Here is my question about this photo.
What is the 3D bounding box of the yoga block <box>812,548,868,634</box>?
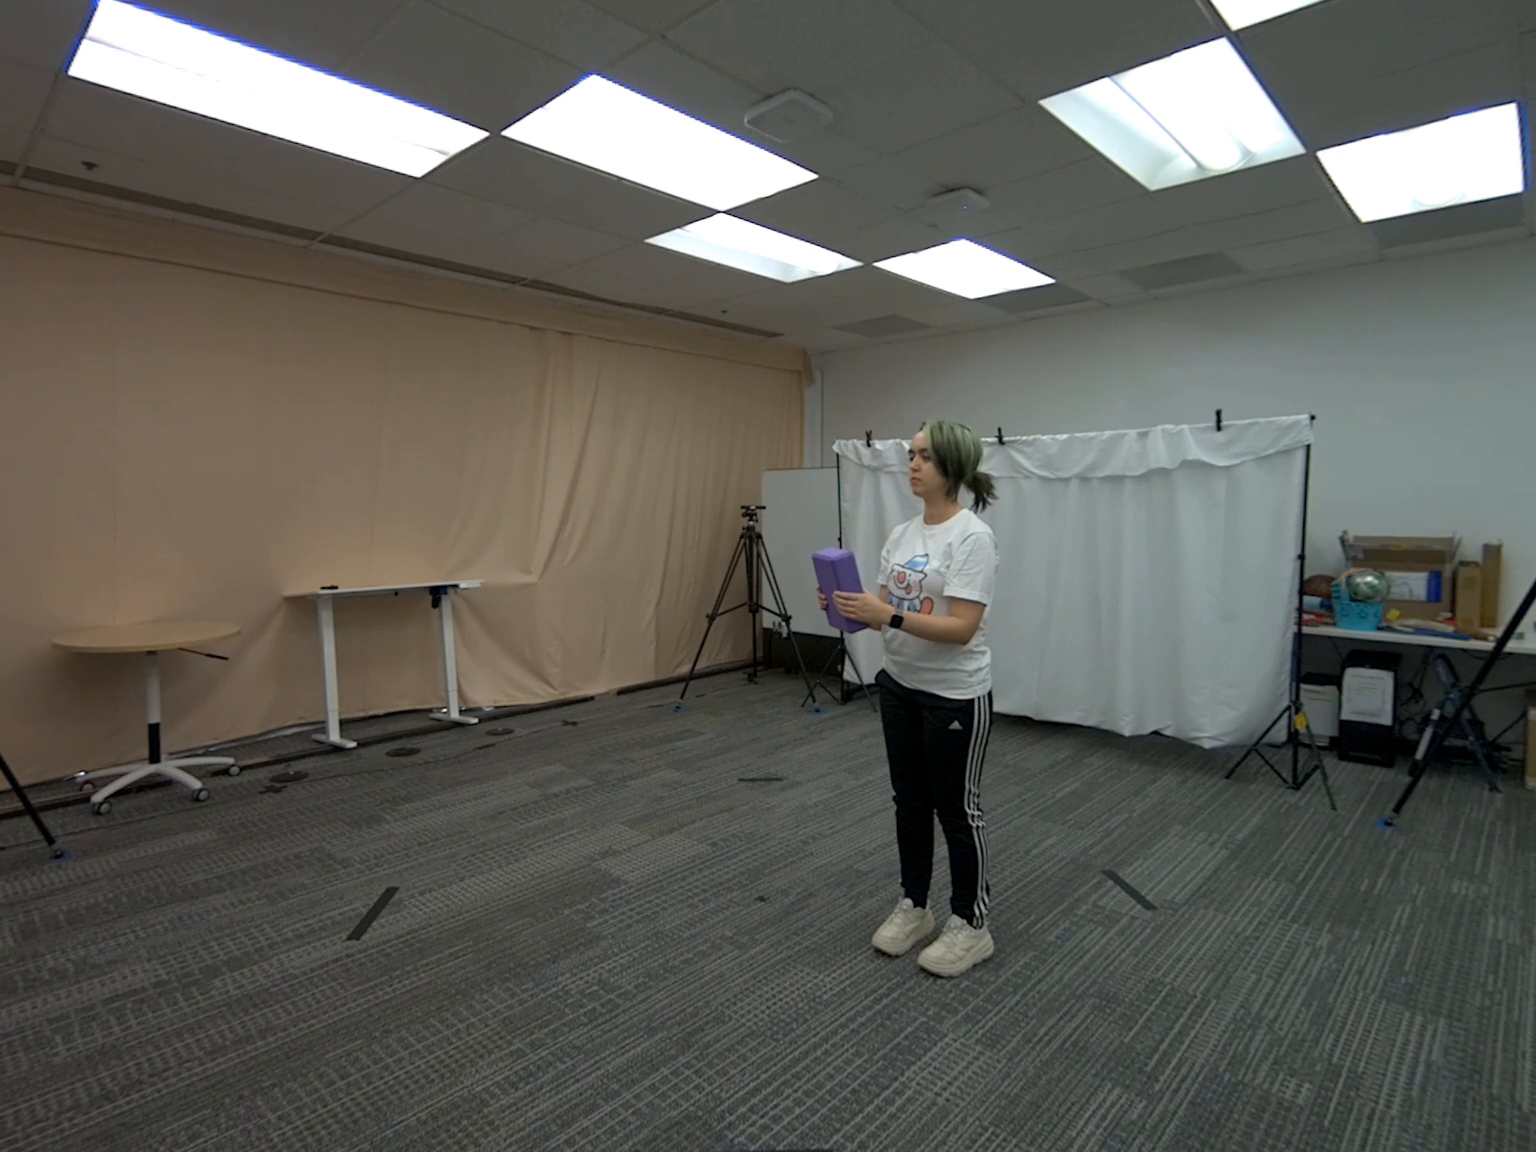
[{"bbox_3d":[0.215,0.039,2.430,0.076,0.227,0.151,-18,9,-10],"label":"yoga block"}]
